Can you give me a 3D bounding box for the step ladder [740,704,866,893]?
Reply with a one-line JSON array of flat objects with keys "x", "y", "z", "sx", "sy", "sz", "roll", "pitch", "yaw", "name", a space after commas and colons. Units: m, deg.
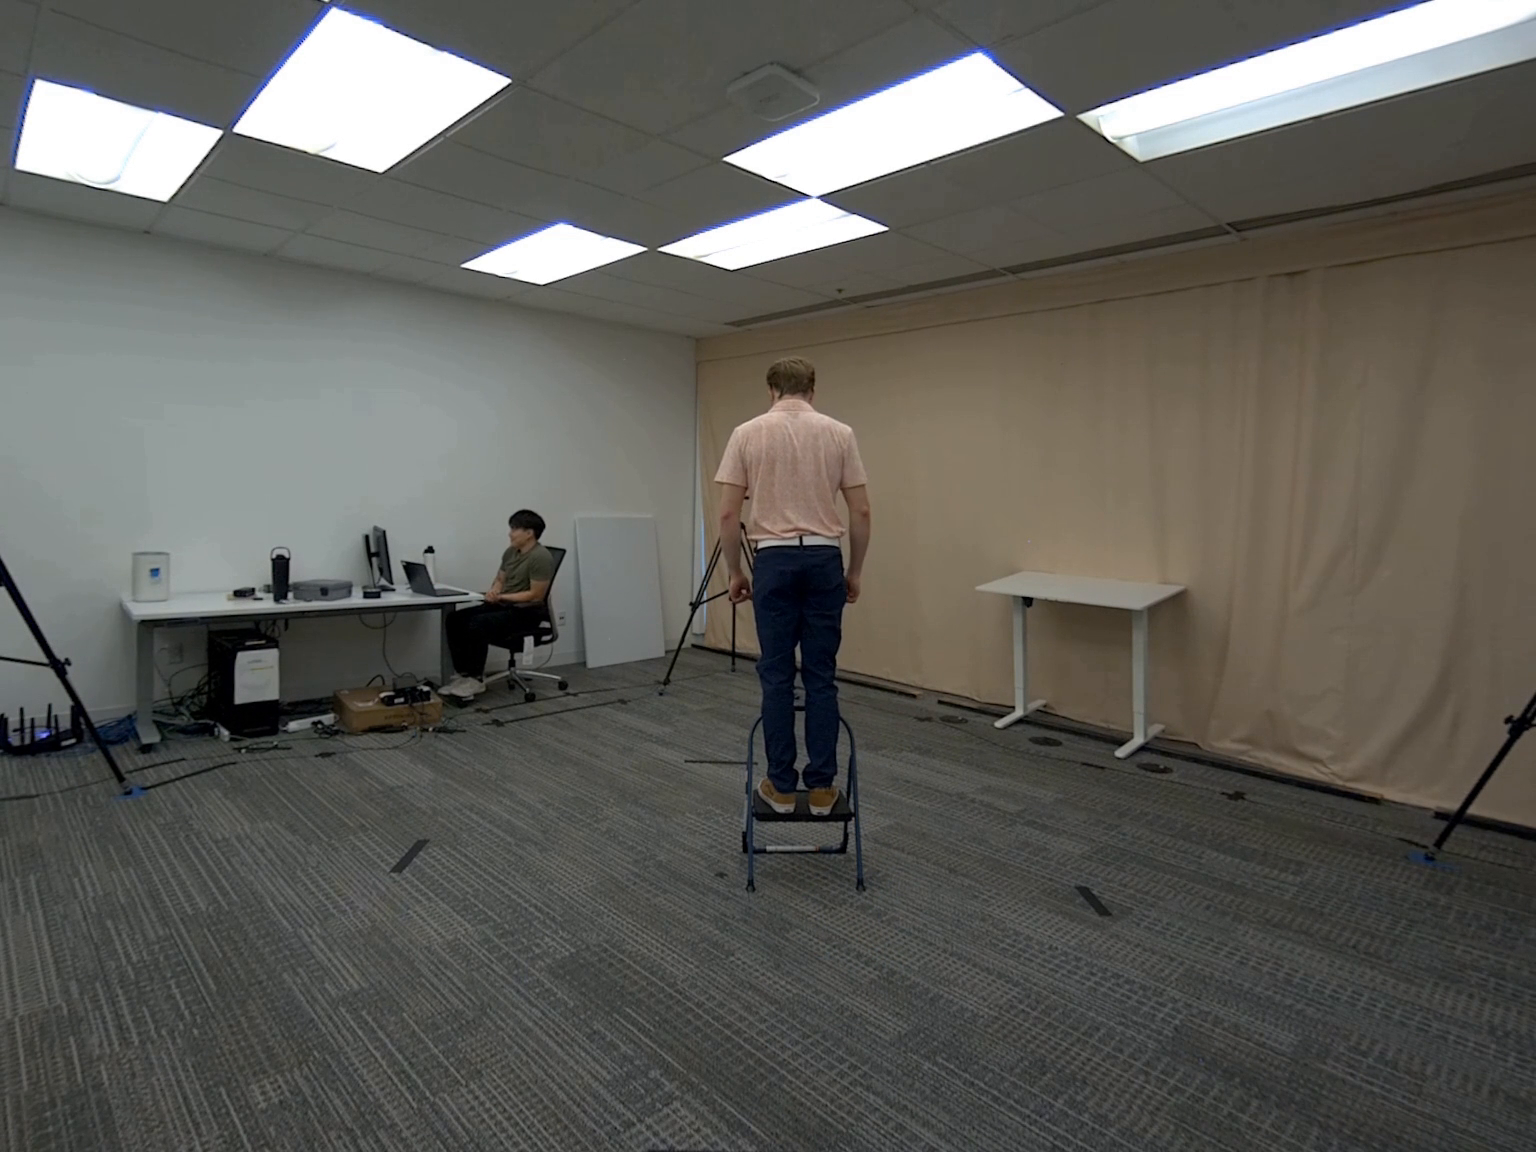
[{"x": 0.122, "y": 0.806, "z": 3.150, "sx": 0.429, "sy": 0.604, "sz": 0.351, "roll": 1, "pitch": 4, "yaw": -5, "name": "step ladder"}]
